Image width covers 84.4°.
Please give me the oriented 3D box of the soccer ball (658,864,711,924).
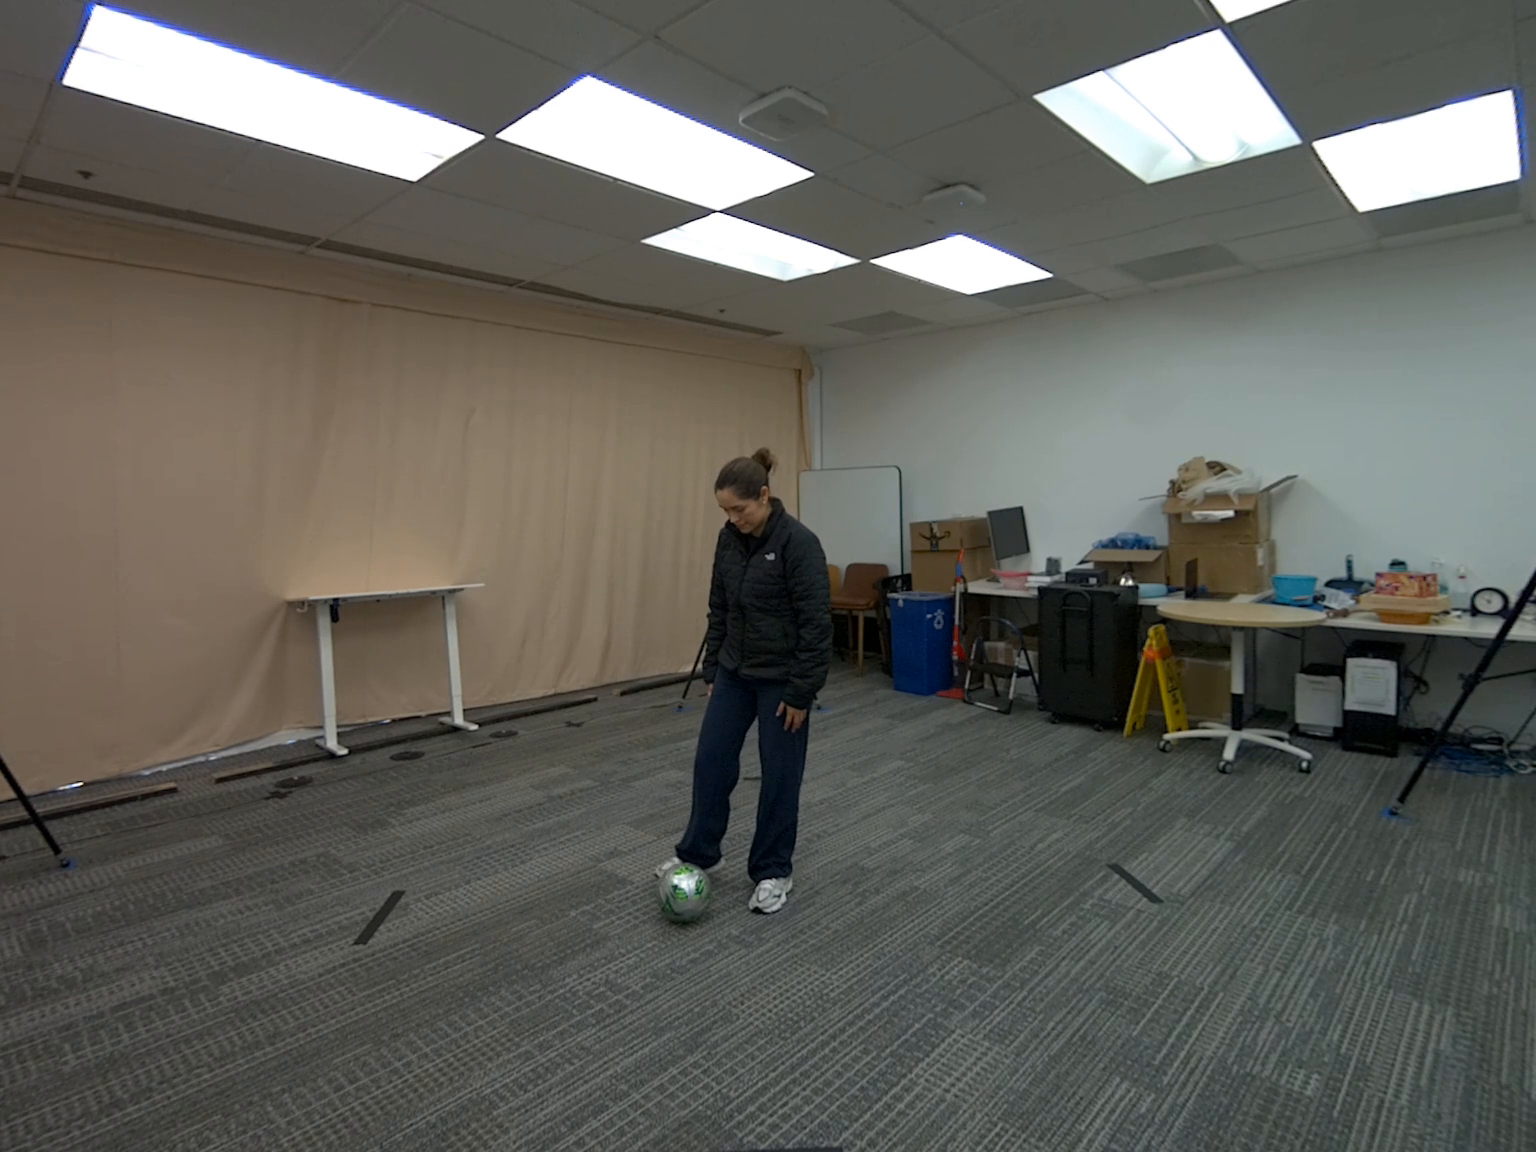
[{"bbox_3d":[-0.283,1.061,2.833,0.187,0.187,0.188,-1,4,-2],"label":"soccer ball"}]
